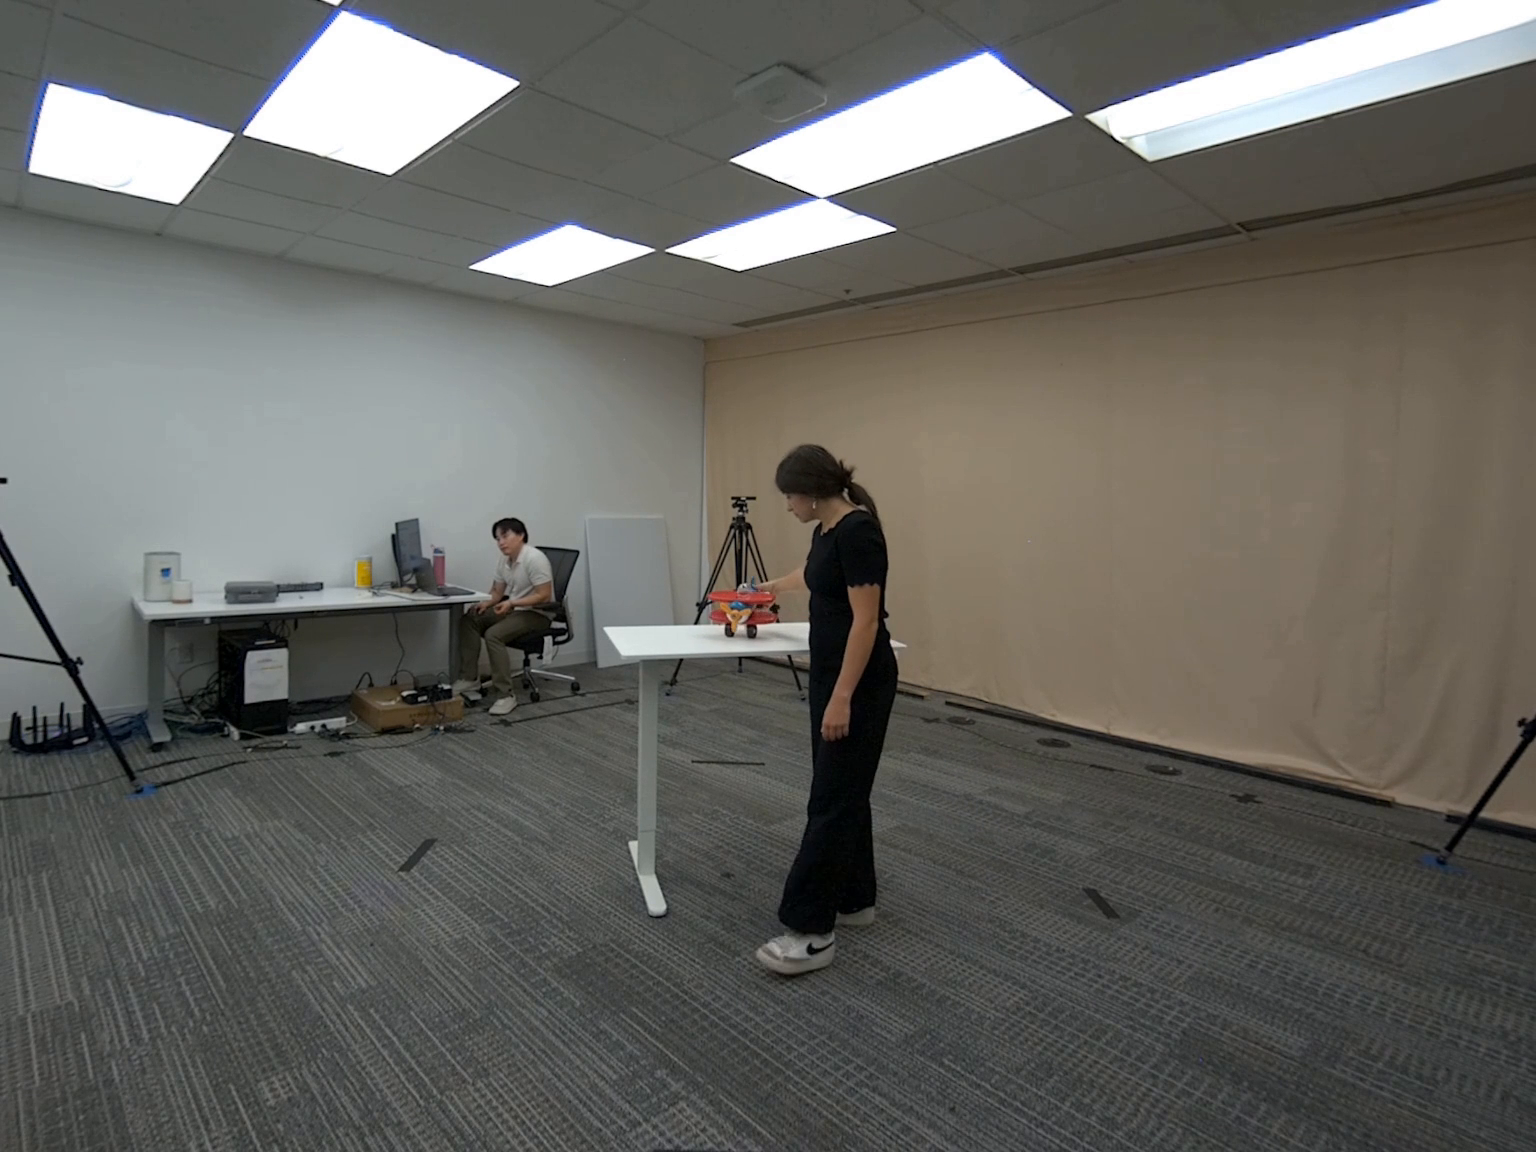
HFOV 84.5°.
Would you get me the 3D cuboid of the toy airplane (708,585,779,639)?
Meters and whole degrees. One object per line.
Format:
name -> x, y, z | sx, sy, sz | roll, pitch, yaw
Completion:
toy airplane -> -0.107, 0.114, 3.123 | 0.250, 0.153, 0.266 | -13, 33, -8
